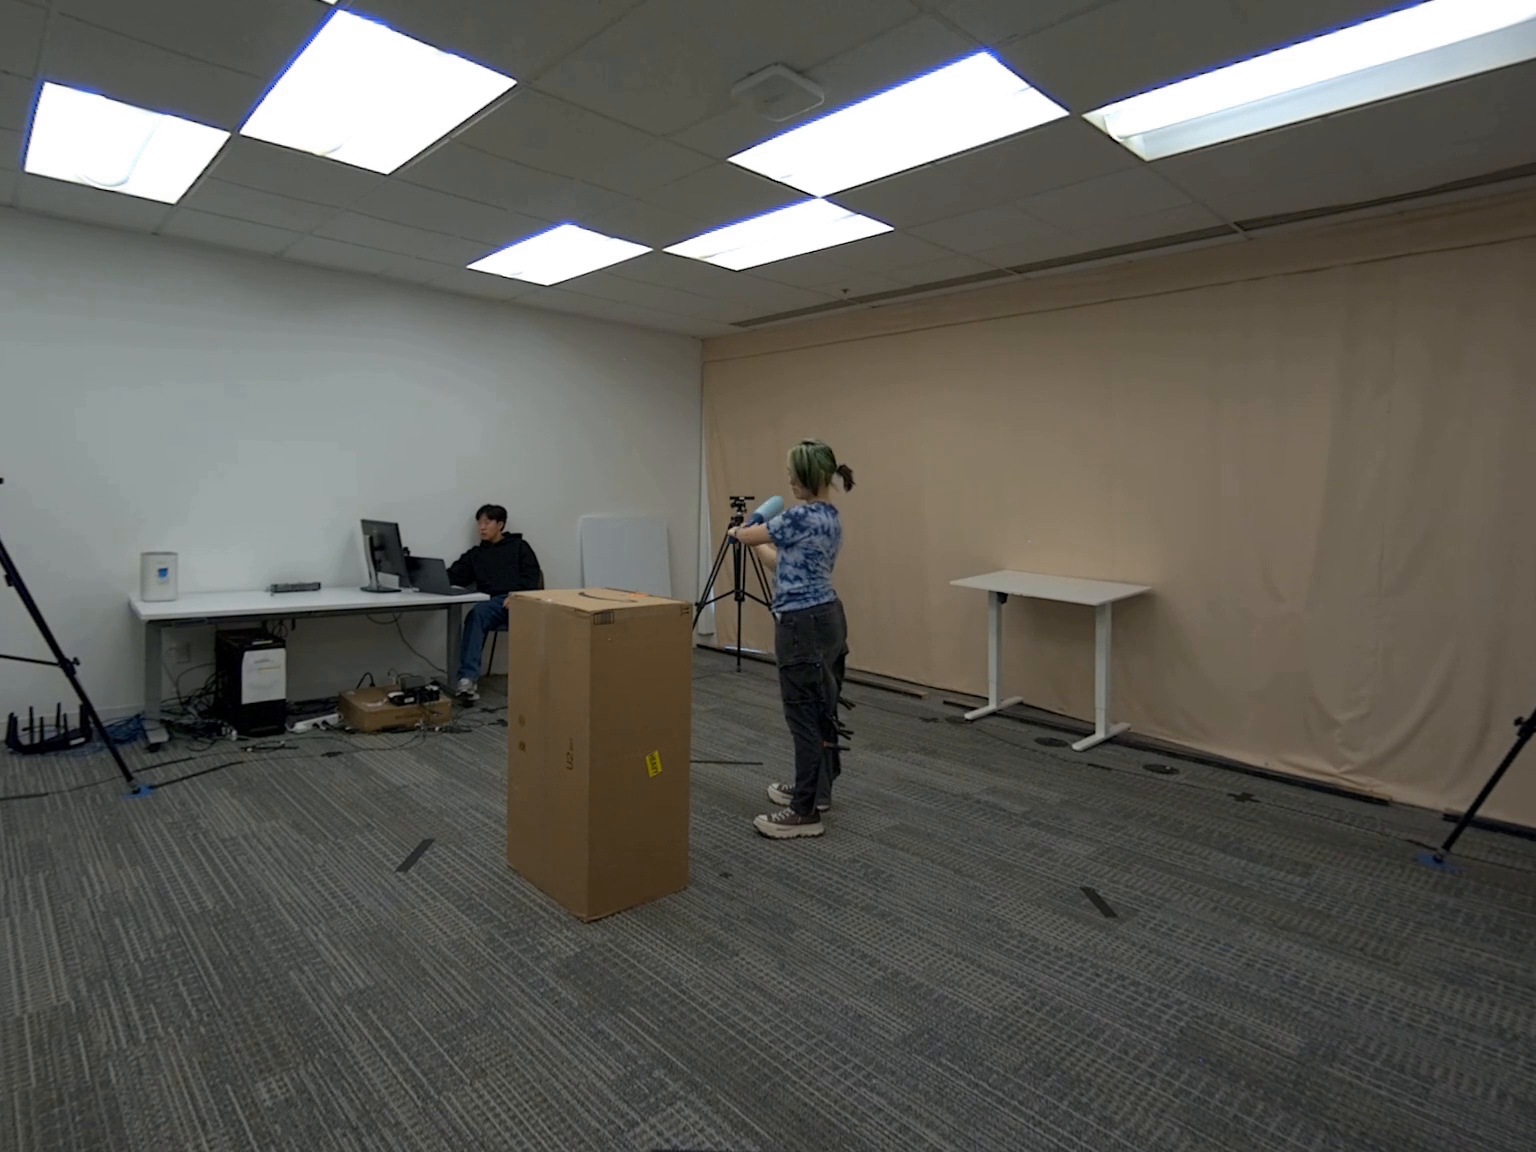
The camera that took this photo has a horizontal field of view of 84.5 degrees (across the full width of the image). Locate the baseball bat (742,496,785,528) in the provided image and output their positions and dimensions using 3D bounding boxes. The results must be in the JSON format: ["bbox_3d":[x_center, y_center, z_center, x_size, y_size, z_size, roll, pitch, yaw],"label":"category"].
[{"bbox_3d":[-0.073,-0.266,4.127,0.091,0.087,0.541,3,25,24],"label":"baseball bat"}]
